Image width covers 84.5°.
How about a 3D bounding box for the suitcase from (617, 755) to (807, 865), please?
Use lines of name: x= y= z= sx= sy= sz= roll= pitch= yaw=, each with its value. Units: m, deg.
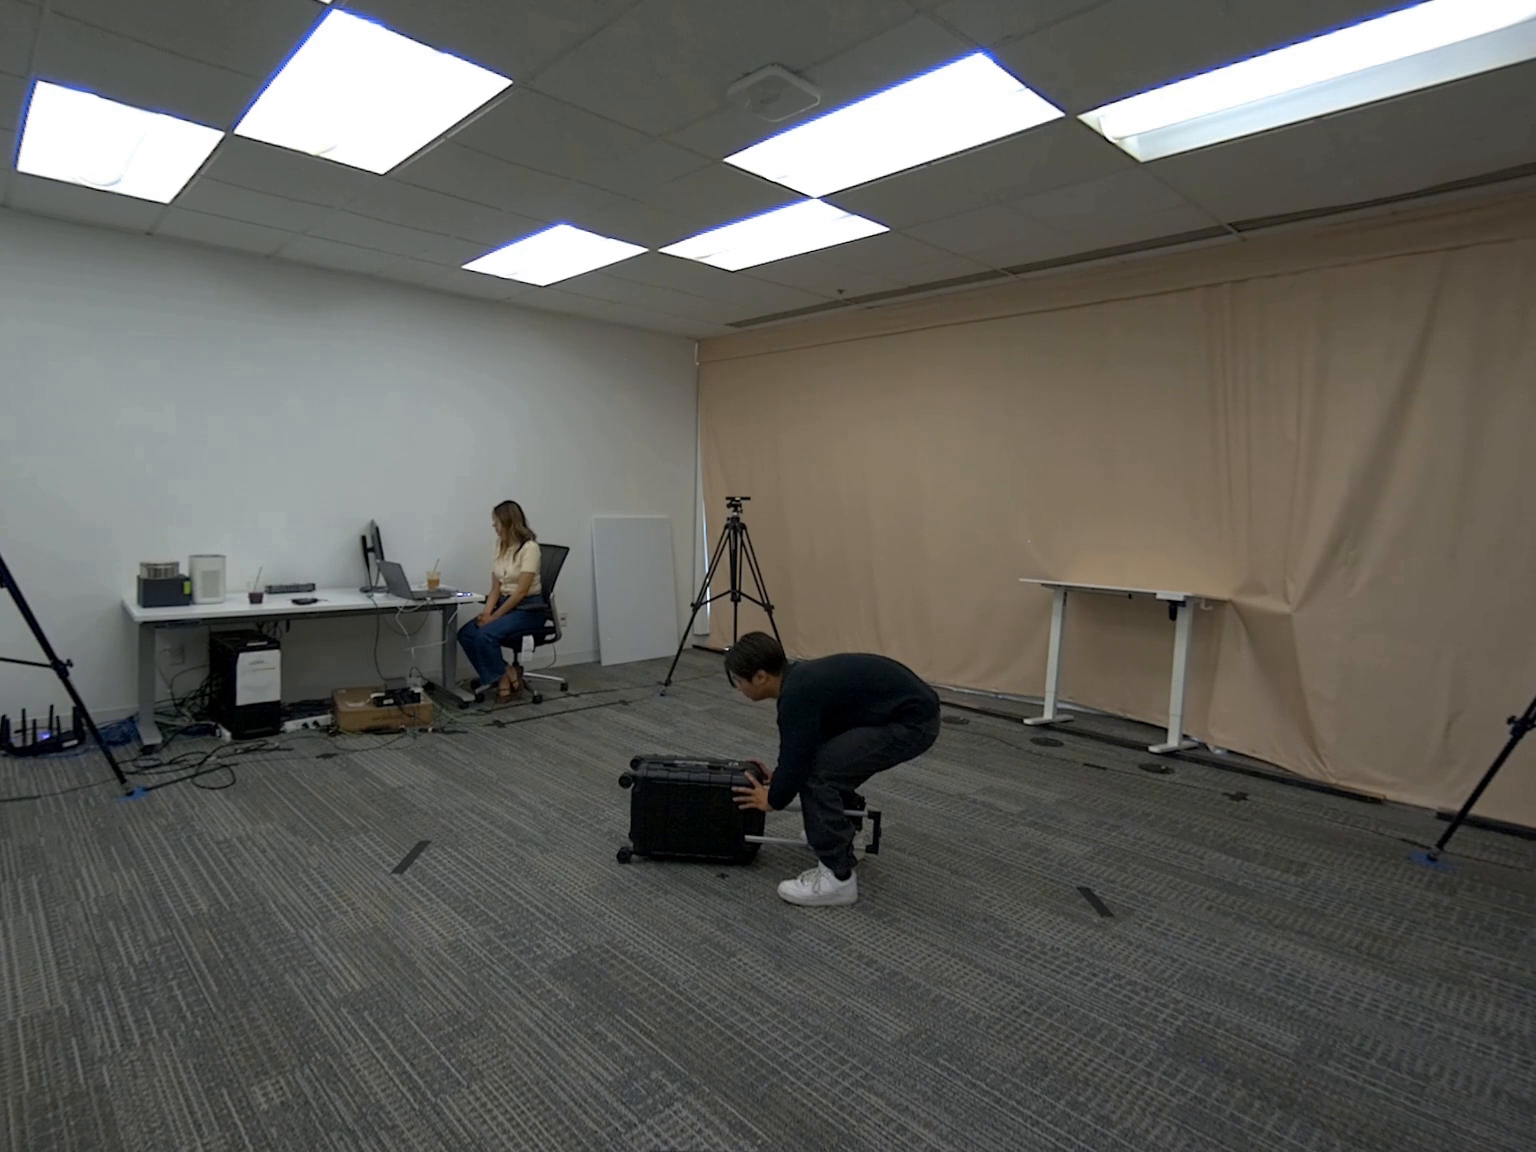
suitcase: x=-0.086 y=0.909 z=3.252 sx=0.982 sy=0.383 sz=0.257 roll=0 pitch=5 yaw=5
